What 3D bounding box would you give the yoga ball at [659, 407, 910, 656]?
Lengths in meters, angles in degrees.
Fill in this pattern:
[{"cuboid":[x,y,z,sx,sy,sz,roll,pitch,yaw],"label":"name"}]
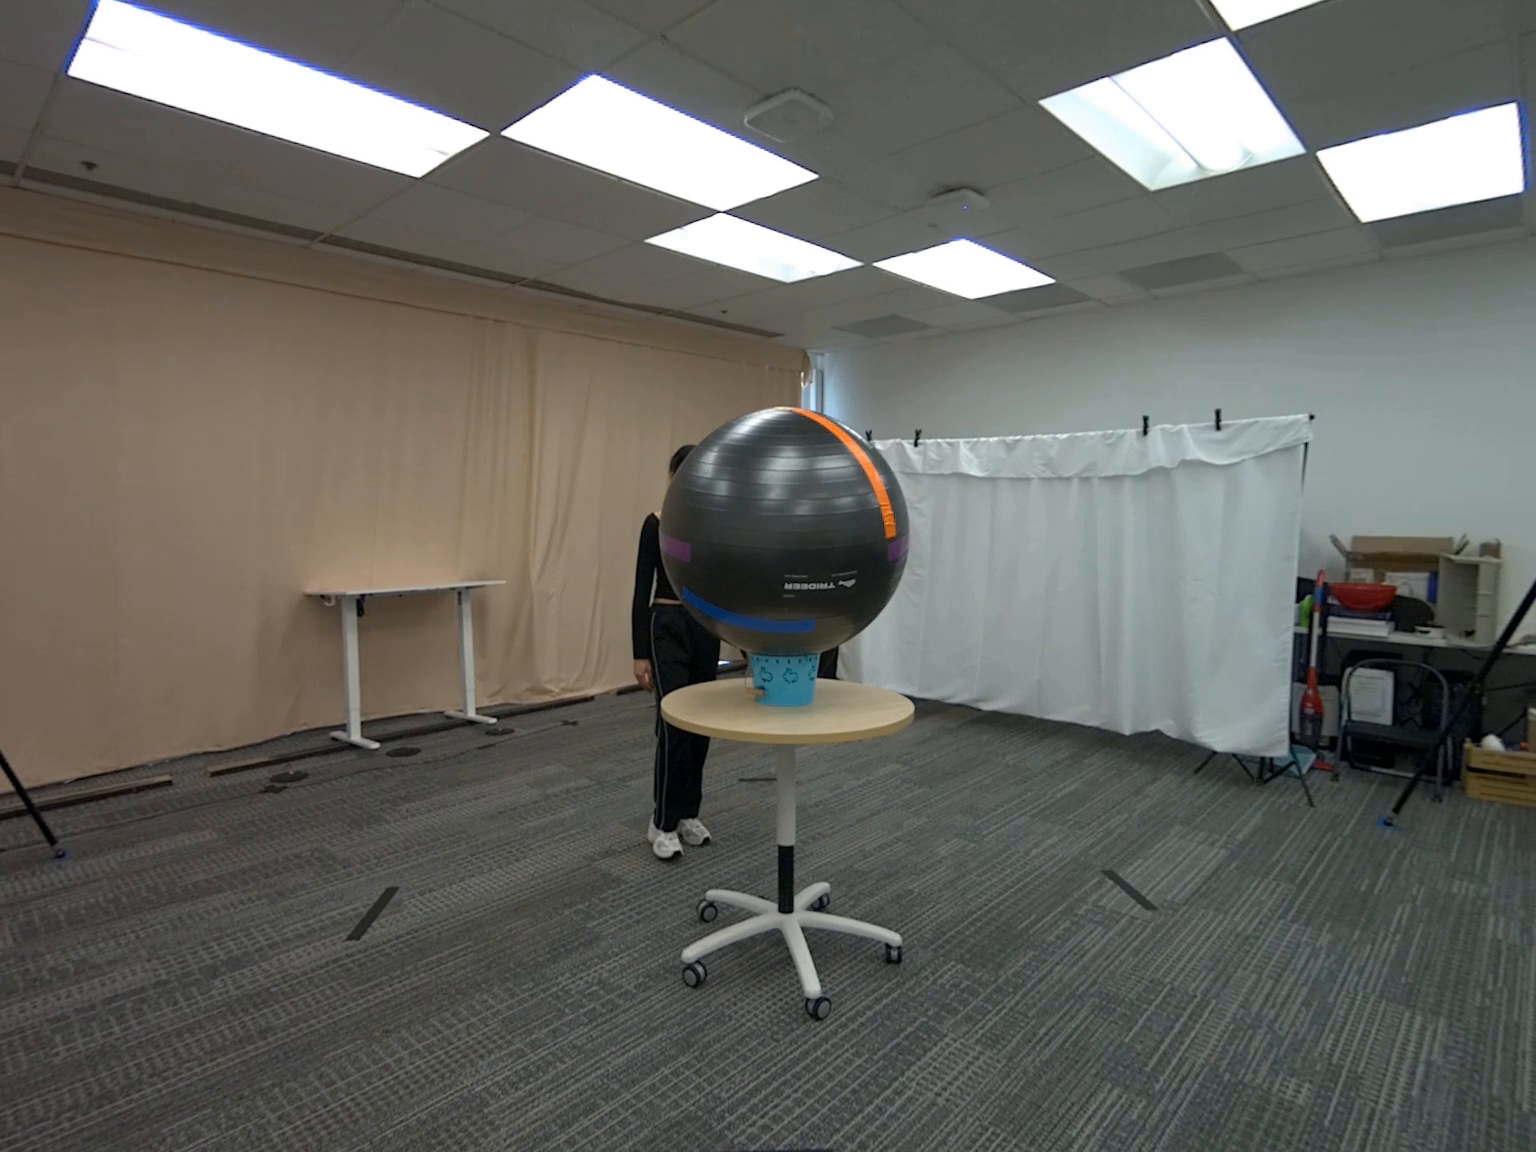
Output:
[{"cuboid":[0.044,-0.123,2.584,0.757,0.756,0.760,0,4,-2],"label":"yoga ball"}]
